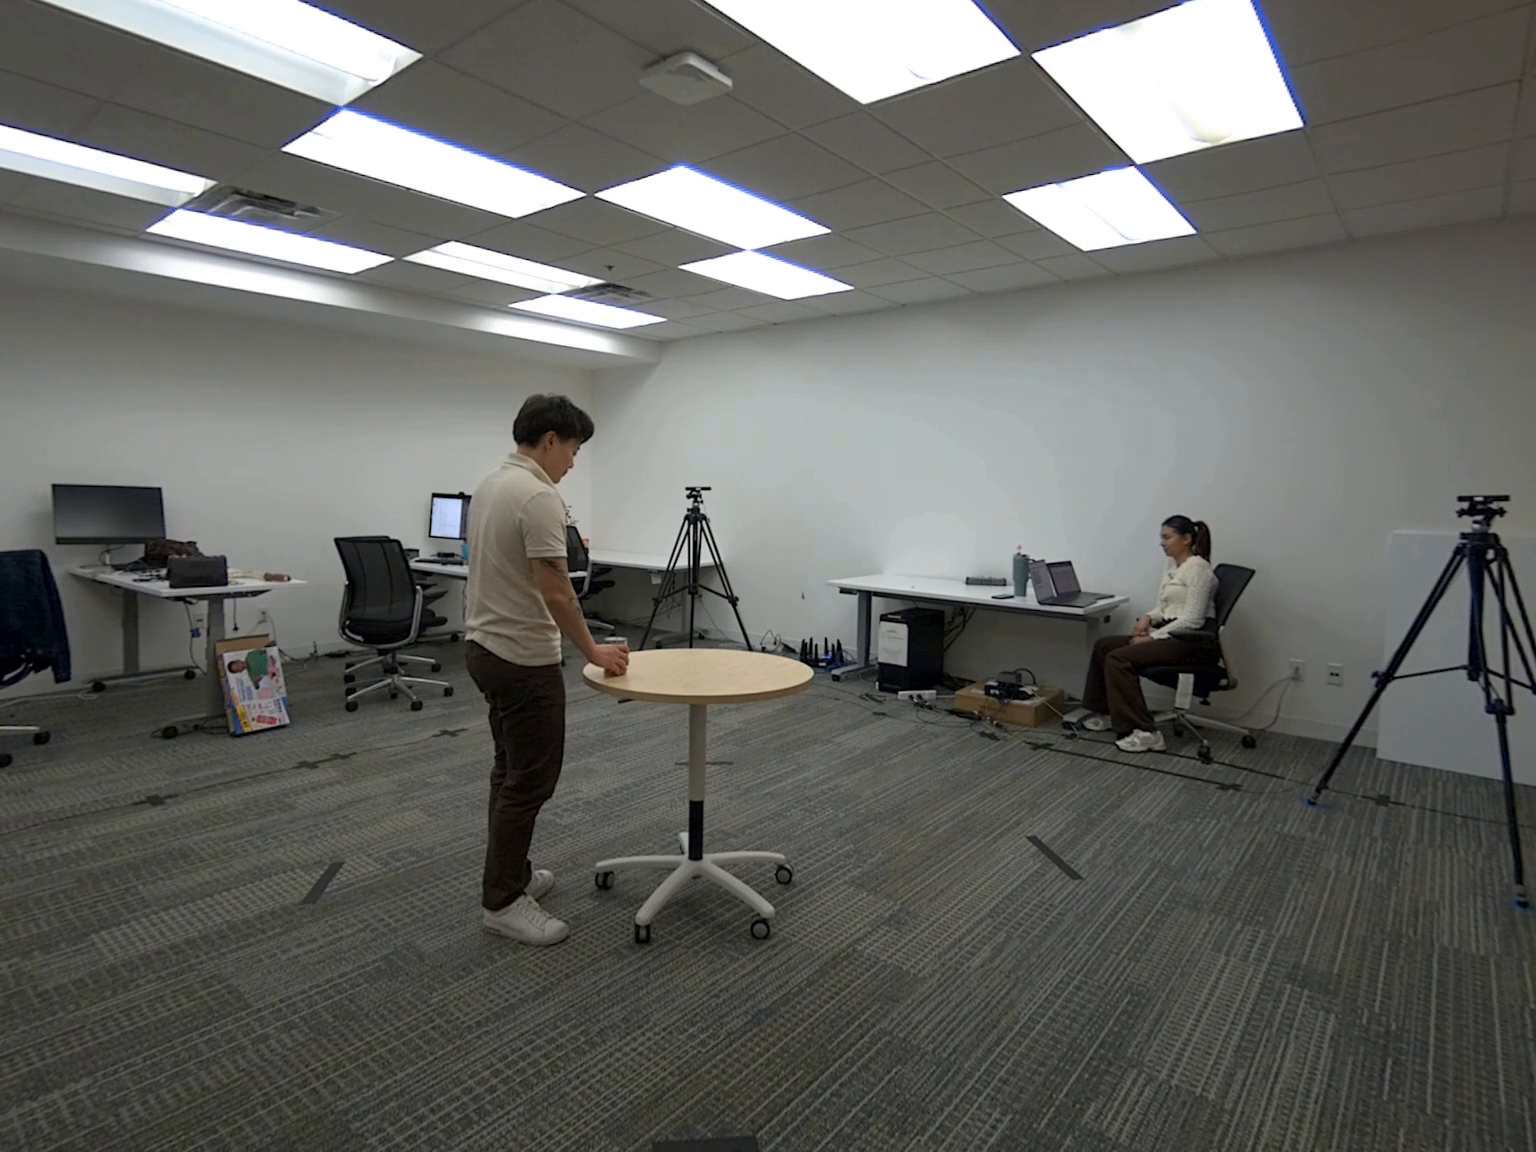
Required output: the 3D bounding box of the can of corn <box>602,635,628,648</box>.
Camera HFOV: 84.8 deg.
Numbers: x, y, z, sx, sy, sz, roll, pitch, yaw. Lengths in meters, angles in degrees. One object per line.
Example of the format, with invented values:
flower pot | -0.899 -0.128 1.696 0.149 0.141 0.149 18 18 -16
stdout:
can of corn | -0.505 0.262 2.743 0.074 0.110 0.075 -1 8 -2
